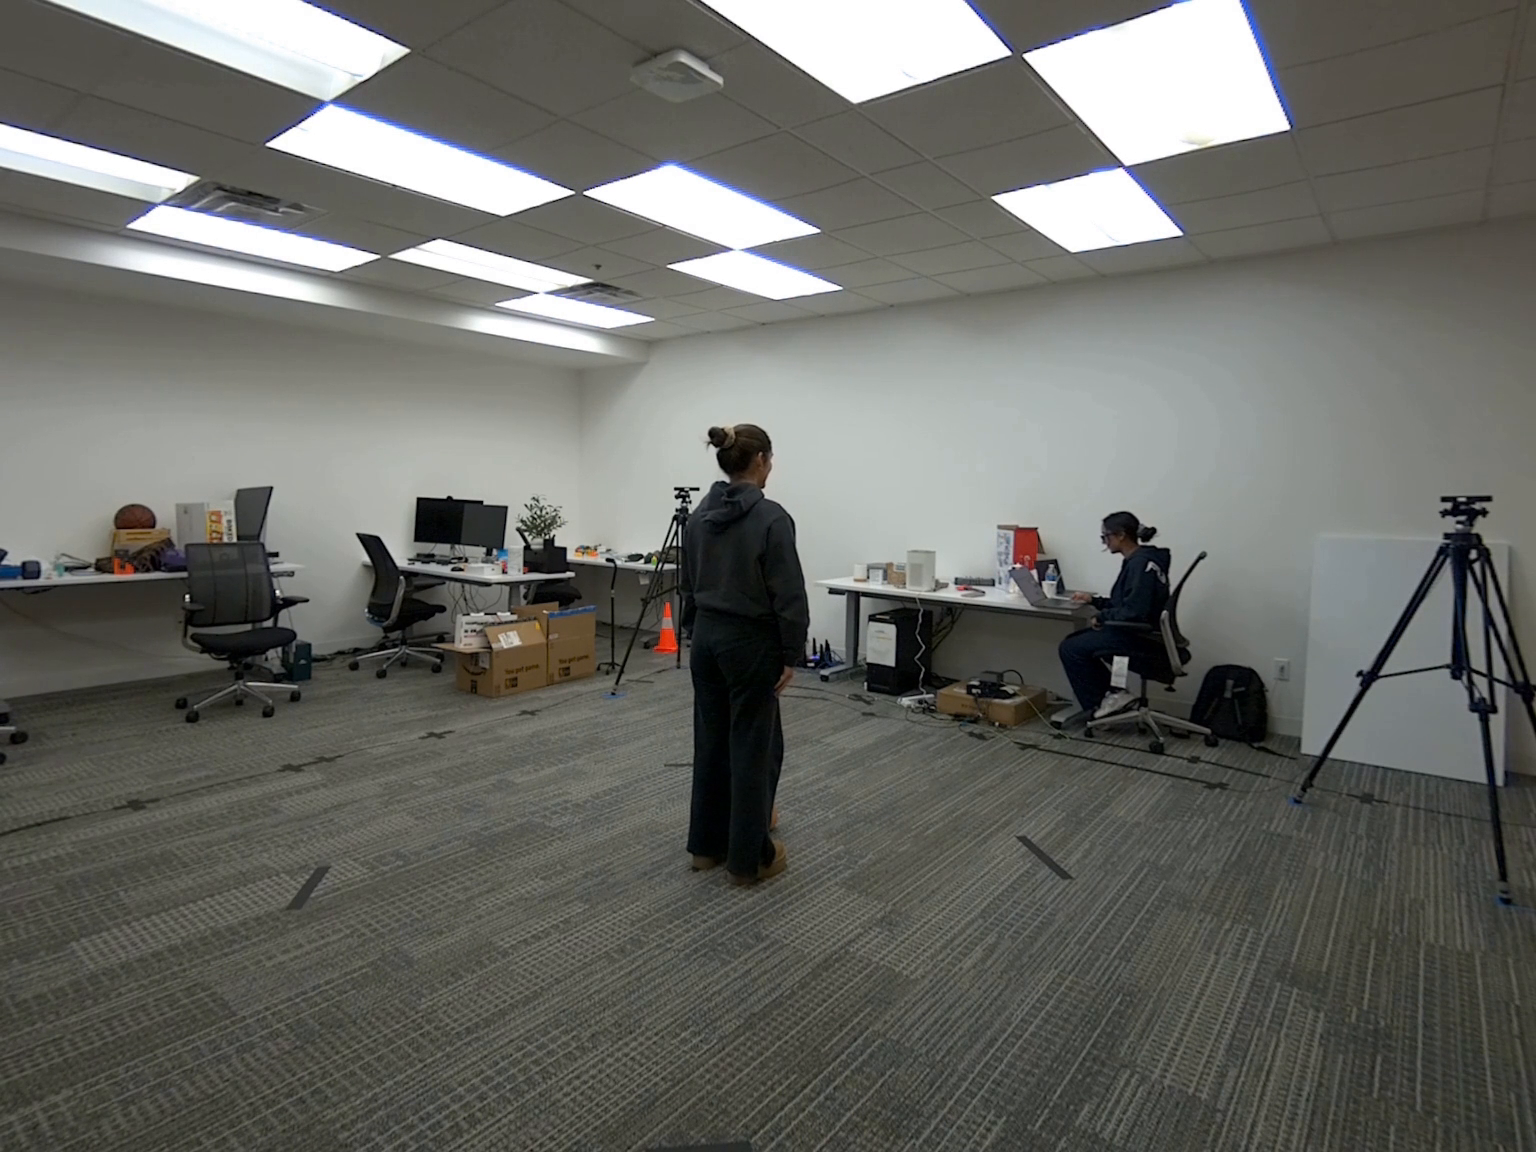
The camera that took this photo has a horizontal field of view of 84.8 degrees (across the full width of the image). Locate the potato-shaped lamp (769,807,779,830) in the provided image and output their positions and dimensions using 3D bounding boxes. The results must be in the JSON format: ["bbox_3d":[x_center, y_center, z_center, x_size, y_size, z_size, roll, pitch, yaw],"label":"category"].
[{"bbox_3d":[-0.037,0.927,3.472,0.169,0.197,0.167,5,5,28],"label":"potato-shaped lamp"}]
